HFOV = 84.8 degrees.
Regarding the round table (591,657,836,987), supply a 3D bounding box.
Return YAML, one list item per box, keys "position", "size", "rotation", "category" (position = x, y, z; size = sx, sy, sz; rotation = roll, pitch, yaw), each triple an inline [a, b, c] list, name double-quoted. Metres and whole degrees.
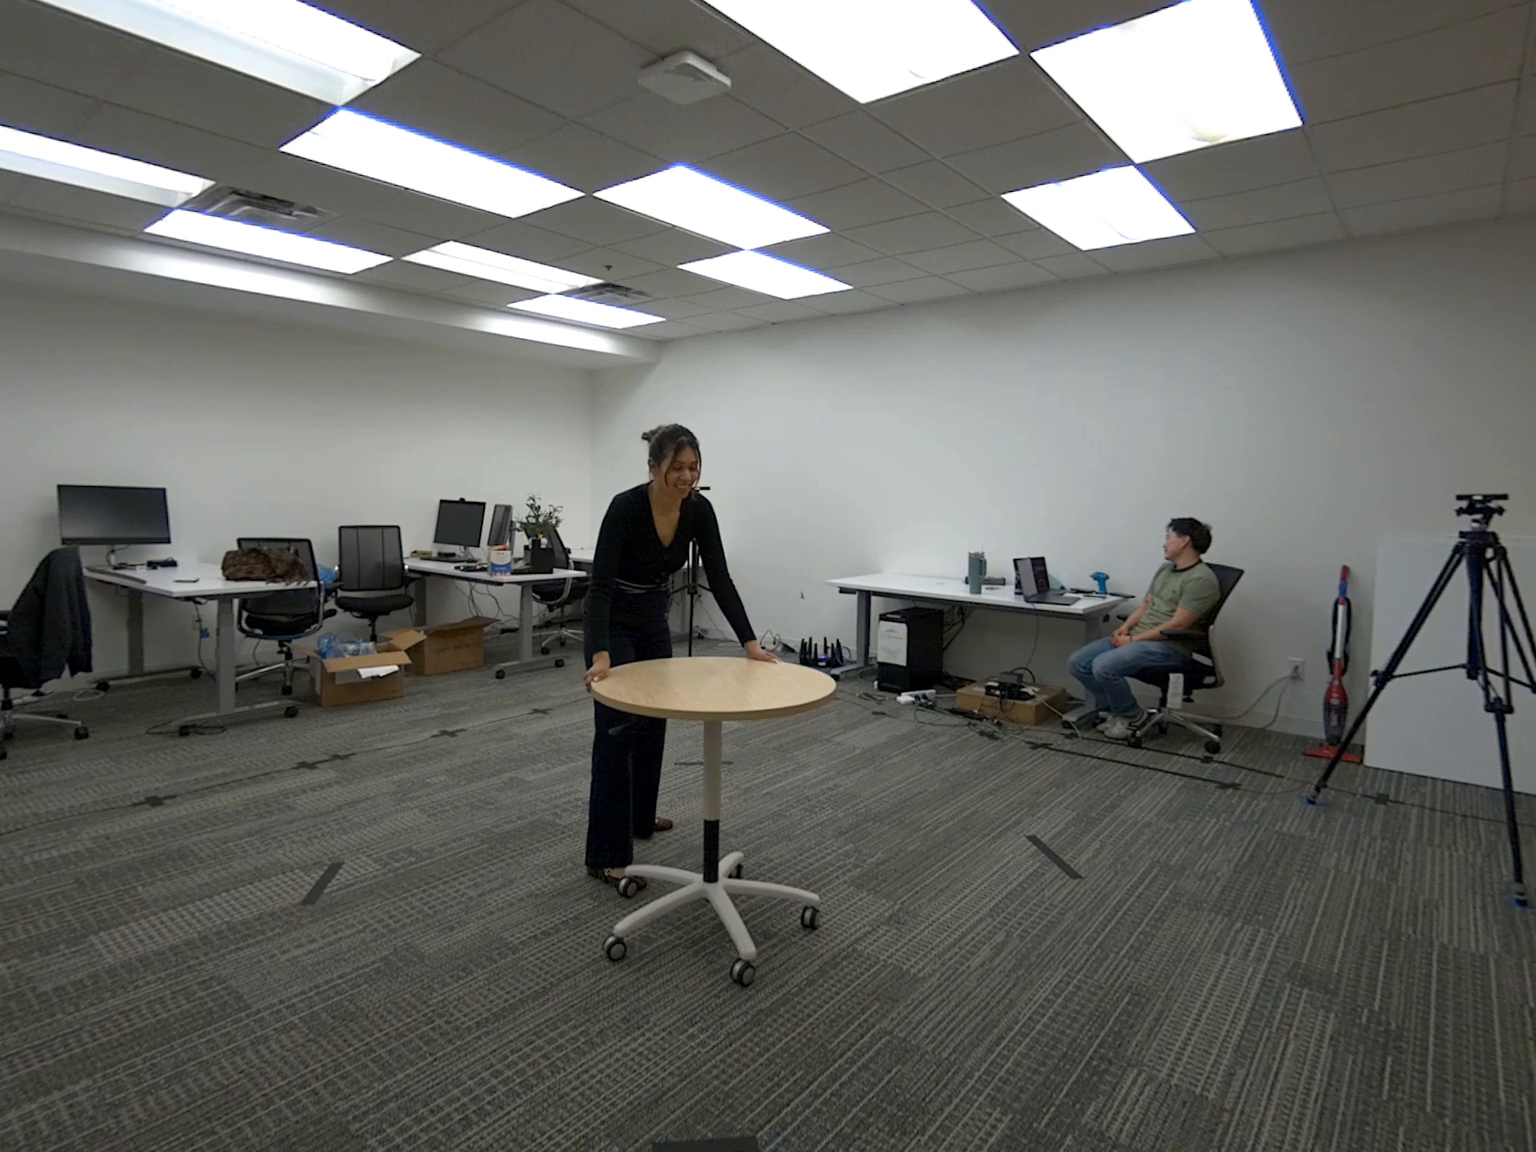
- position: [-0.186, 0.718, 2.698]
  size: [0.763, 0.791, 0.768]
  rotation: [1, 4, -2]
  category: "round table"
